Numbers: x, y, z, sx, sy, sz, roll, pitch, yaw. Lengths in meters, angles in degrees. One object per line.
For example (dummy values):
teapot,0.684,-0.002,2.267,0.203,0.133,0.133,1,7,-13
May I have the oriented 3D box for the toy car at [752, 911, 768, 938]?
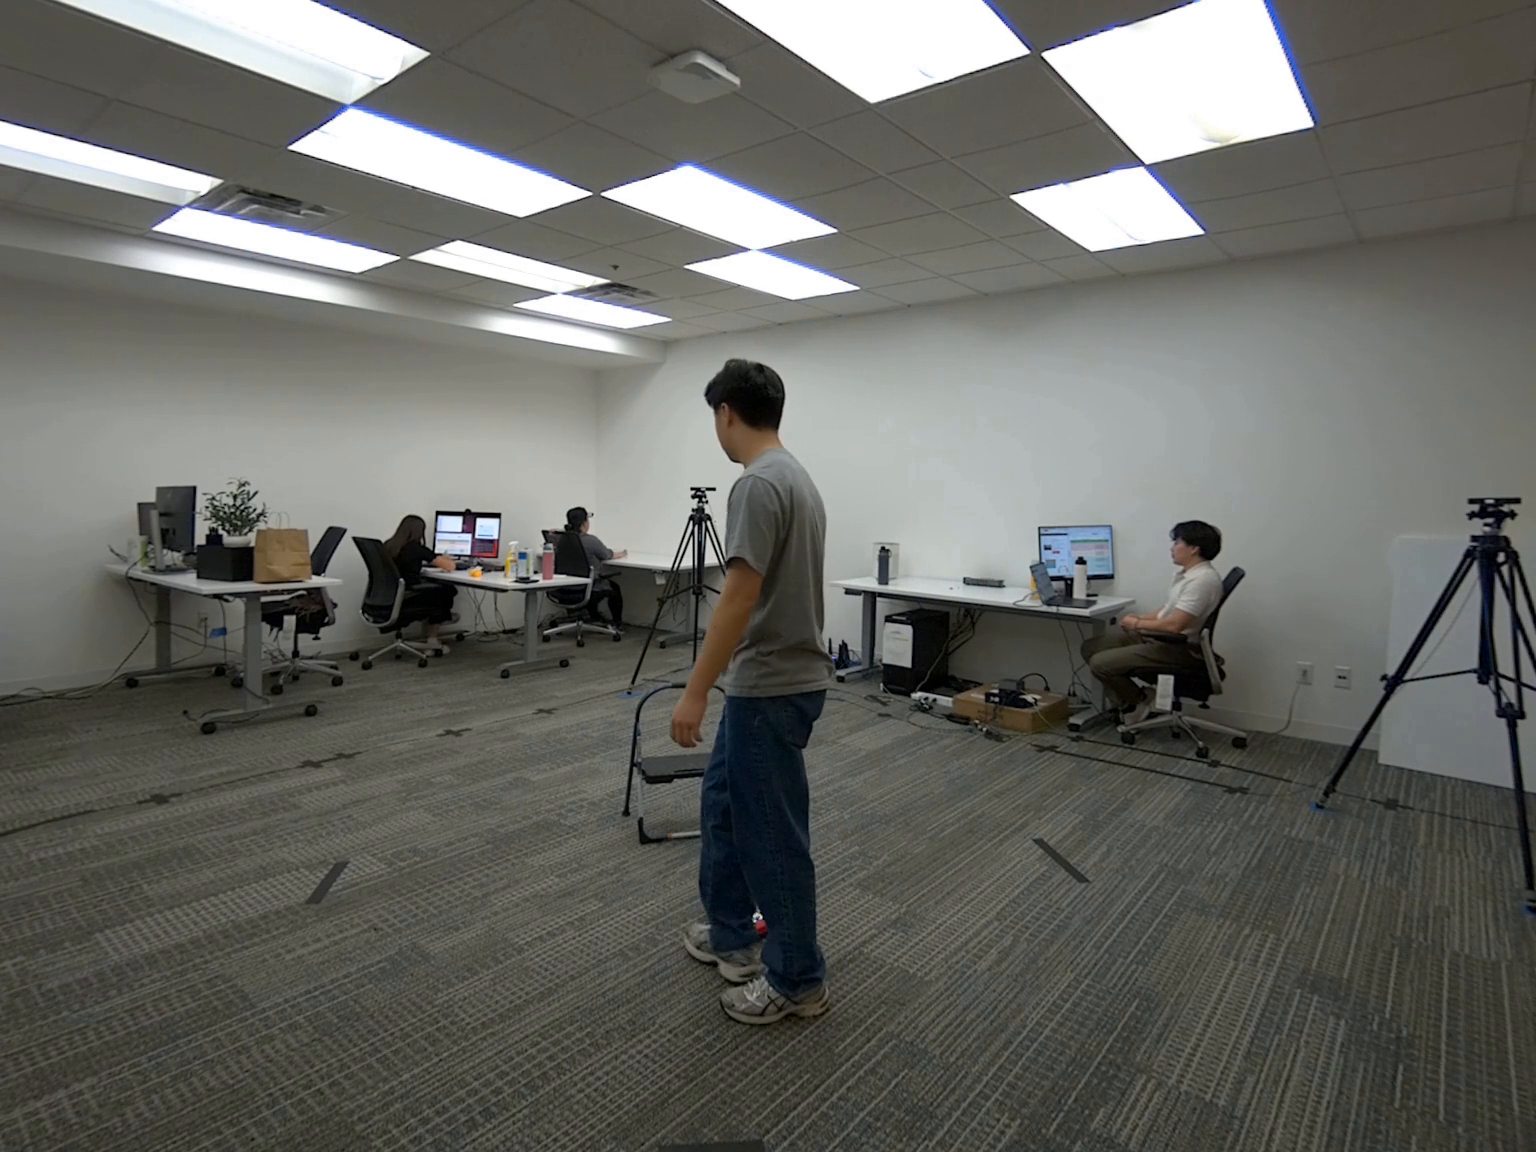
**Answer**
toy car,-0.108,1.069,2.709,0.126,0.082,0.265,-2,17,-44
